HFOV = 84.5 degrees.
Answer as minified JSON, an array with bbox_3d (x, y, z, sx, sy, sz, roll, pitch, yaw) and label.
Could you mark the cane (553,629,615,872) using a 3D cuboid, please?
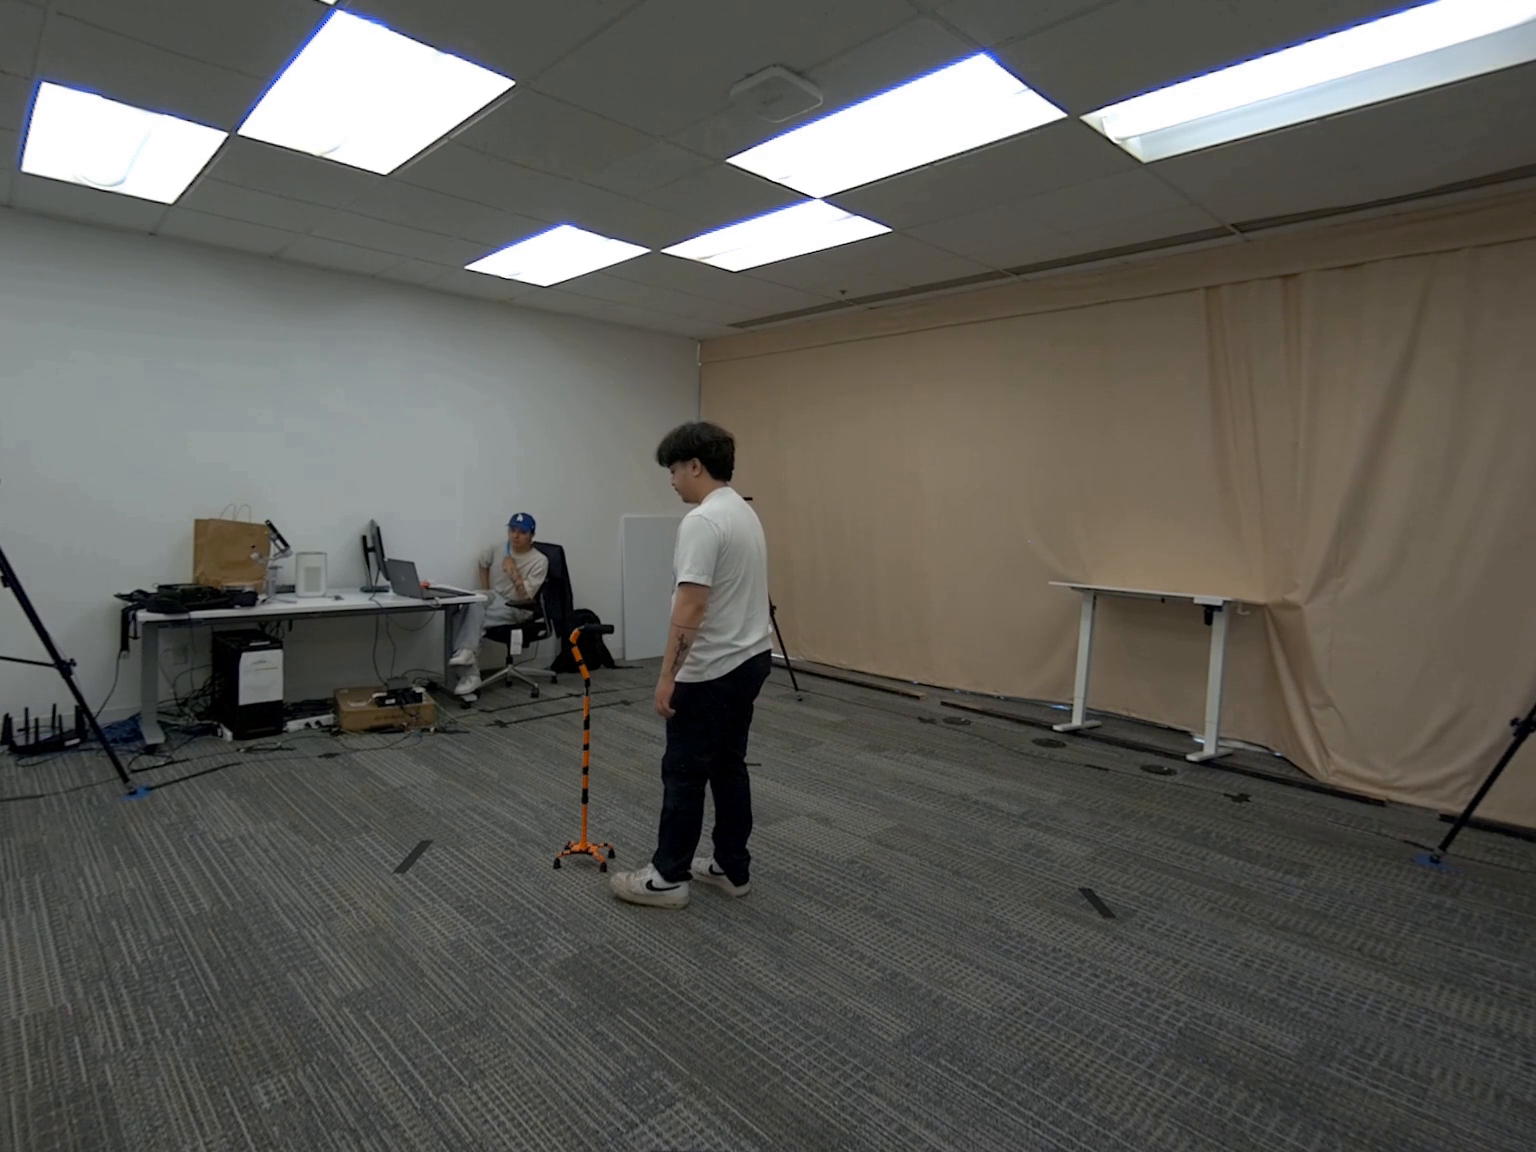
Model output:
[{"bbox_3d":[-0.690,0.637,3.164,0.207,0.906,0.151,2,3,4],"label":"cane"}]
